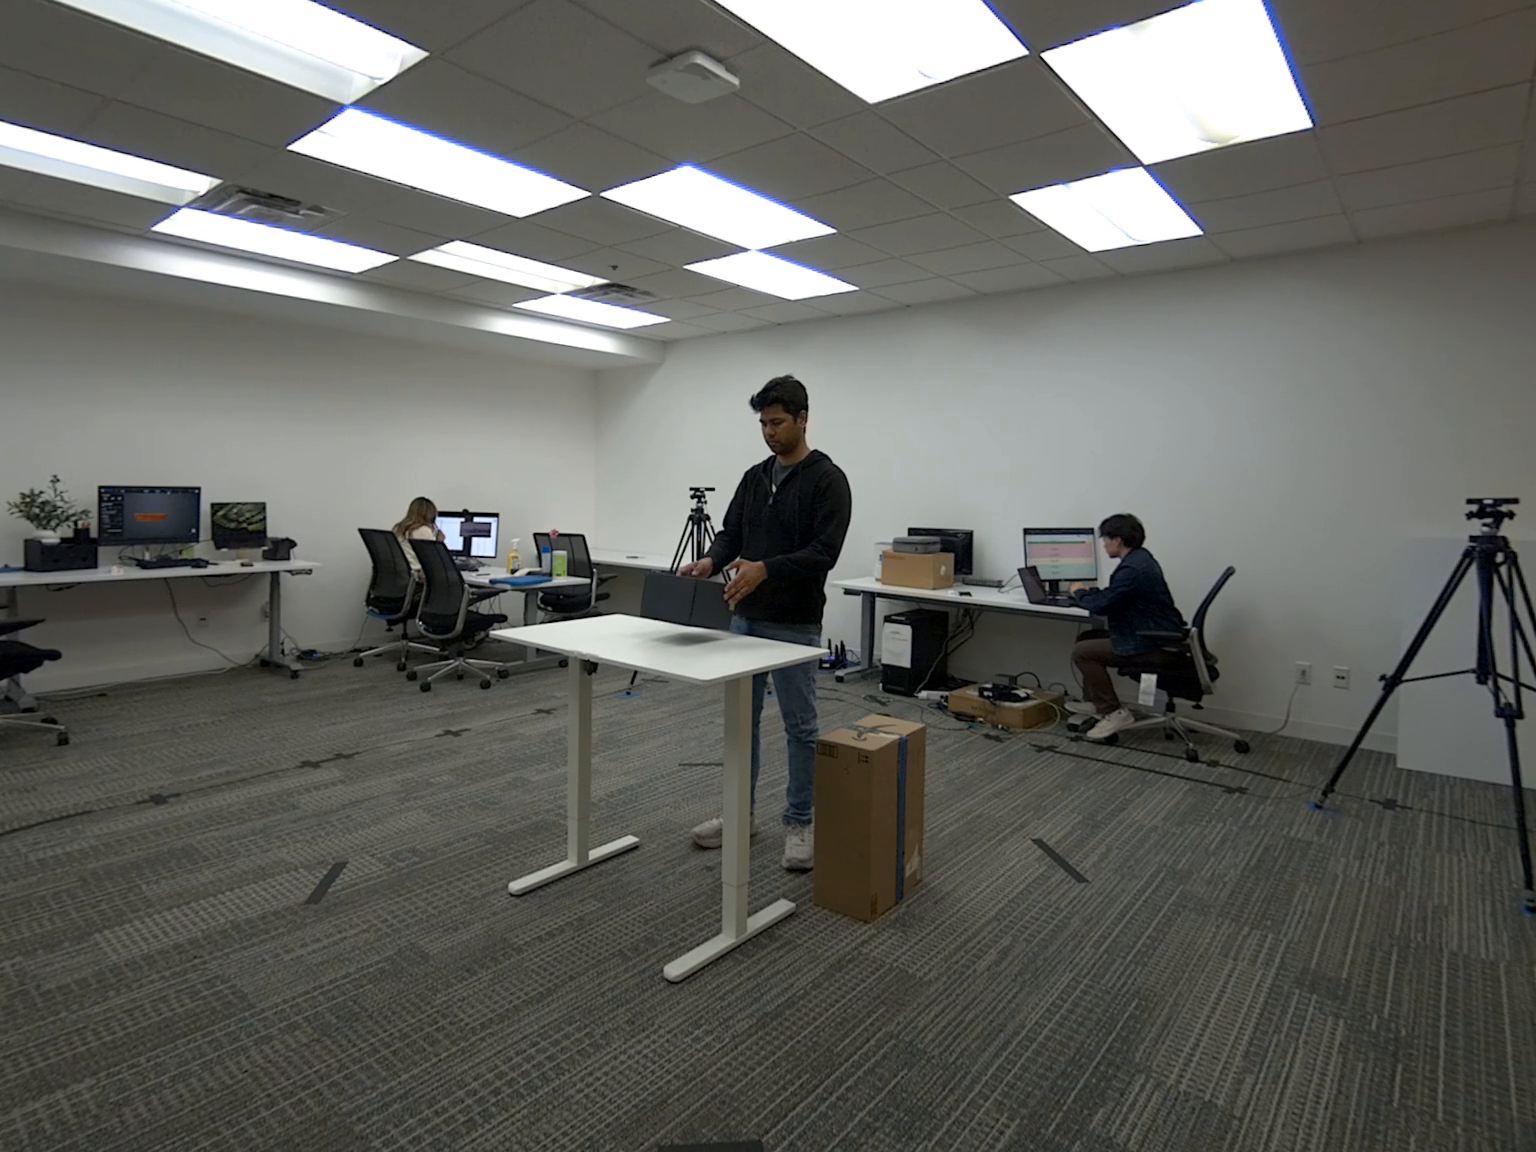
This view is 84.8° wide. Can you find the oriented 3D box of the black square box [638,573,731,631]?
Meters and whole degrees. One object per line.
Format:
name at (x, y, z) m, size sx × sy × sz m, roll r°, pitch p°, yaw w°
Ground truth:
black square box at (-0.264, 0.084, 2.845) m, size 0.235 × 0.156 × 0.209 m, roll 6°, pitch -3°, yaw 37°
